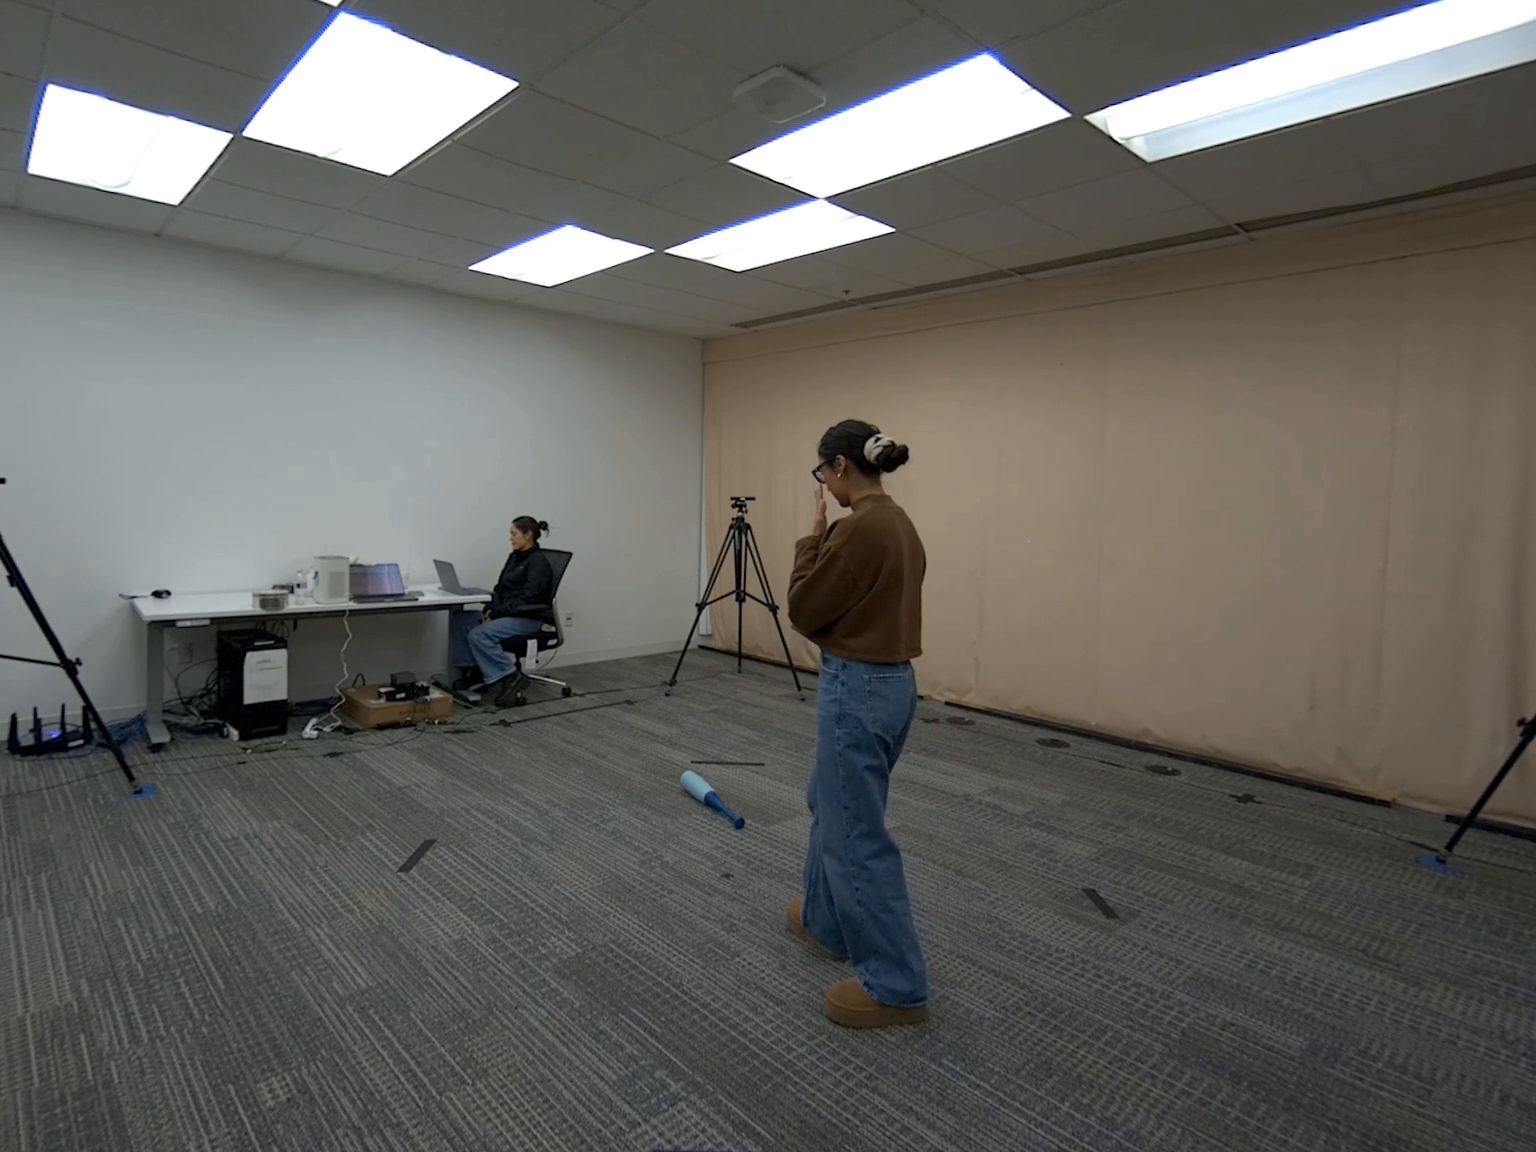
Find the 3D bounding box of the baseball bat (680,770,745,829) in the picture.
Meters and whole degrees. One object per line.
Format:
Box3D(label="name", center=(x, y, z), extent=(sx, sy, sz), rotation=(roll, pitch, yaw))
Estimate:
Box3D(label="baseball bat", center=(-0.260, 1.012, 3.792), extent=(0.087, 0.088, 0.556), rotation=(-1, 9, -28))
